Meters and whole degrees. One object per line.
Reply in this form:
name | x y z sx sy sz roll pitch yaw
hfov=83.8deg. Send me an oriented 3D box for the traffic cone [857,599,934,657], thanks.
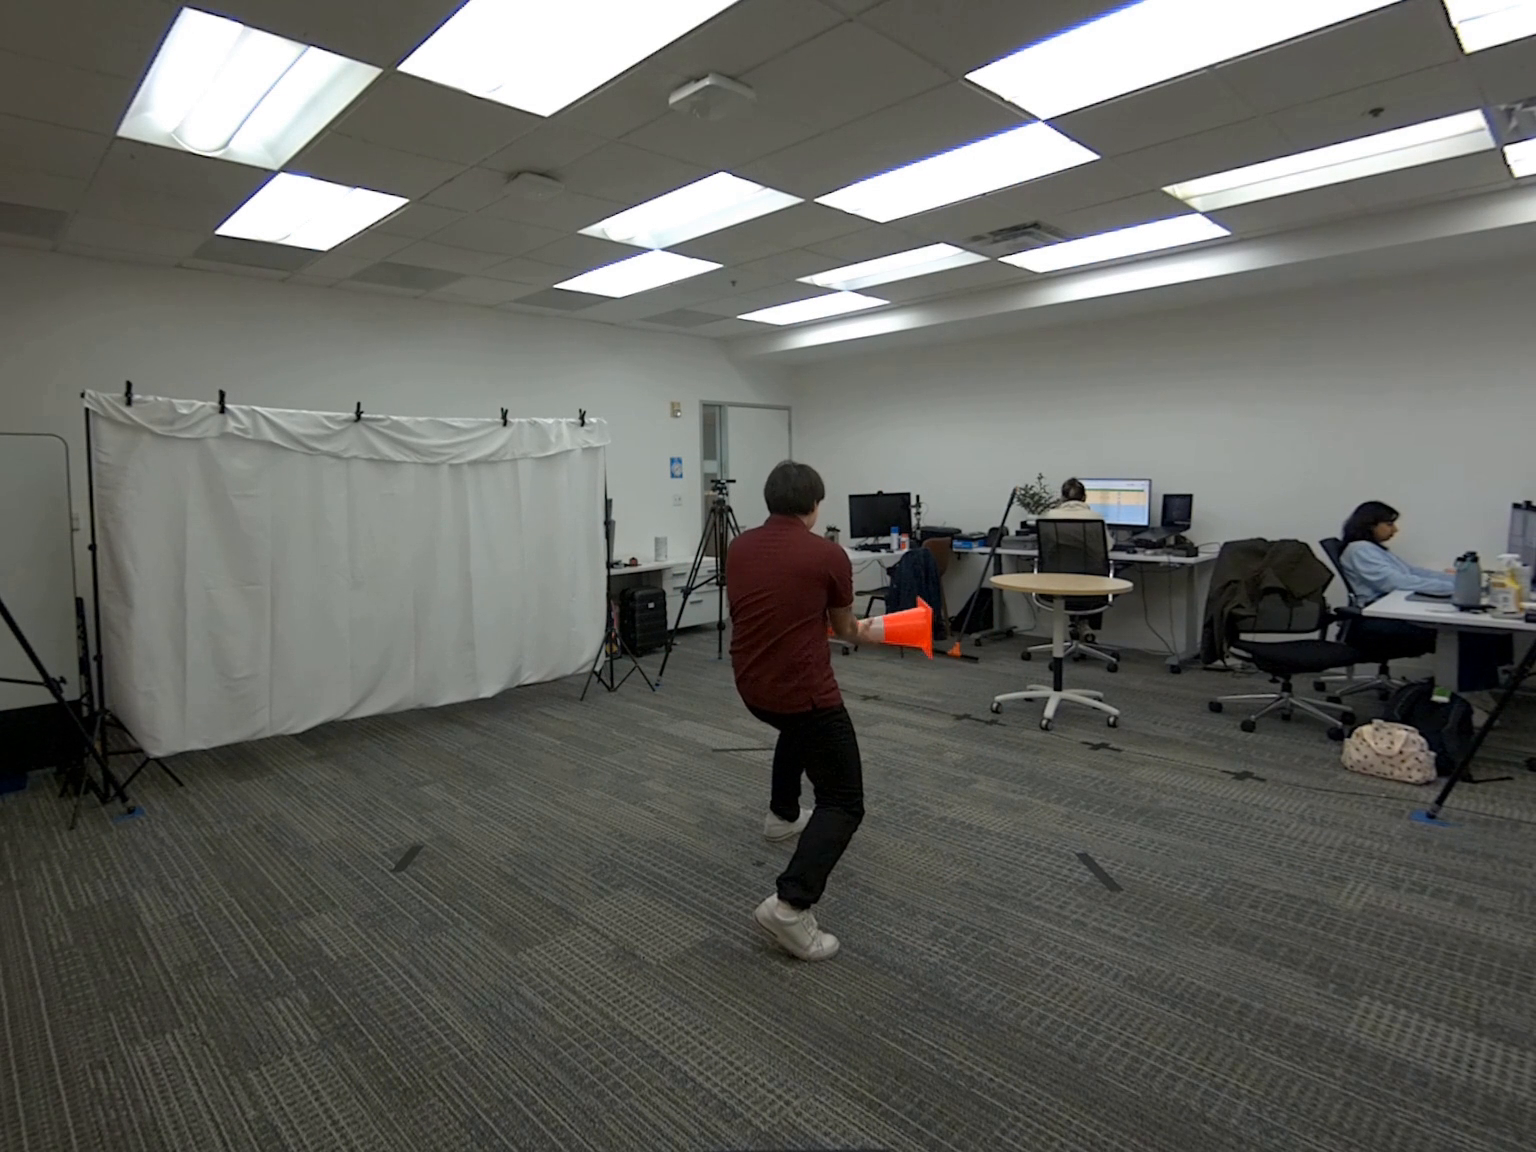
traffic cone | 0.417 0.211 3.320 0.384 0.203 0.205 -4 11 0
